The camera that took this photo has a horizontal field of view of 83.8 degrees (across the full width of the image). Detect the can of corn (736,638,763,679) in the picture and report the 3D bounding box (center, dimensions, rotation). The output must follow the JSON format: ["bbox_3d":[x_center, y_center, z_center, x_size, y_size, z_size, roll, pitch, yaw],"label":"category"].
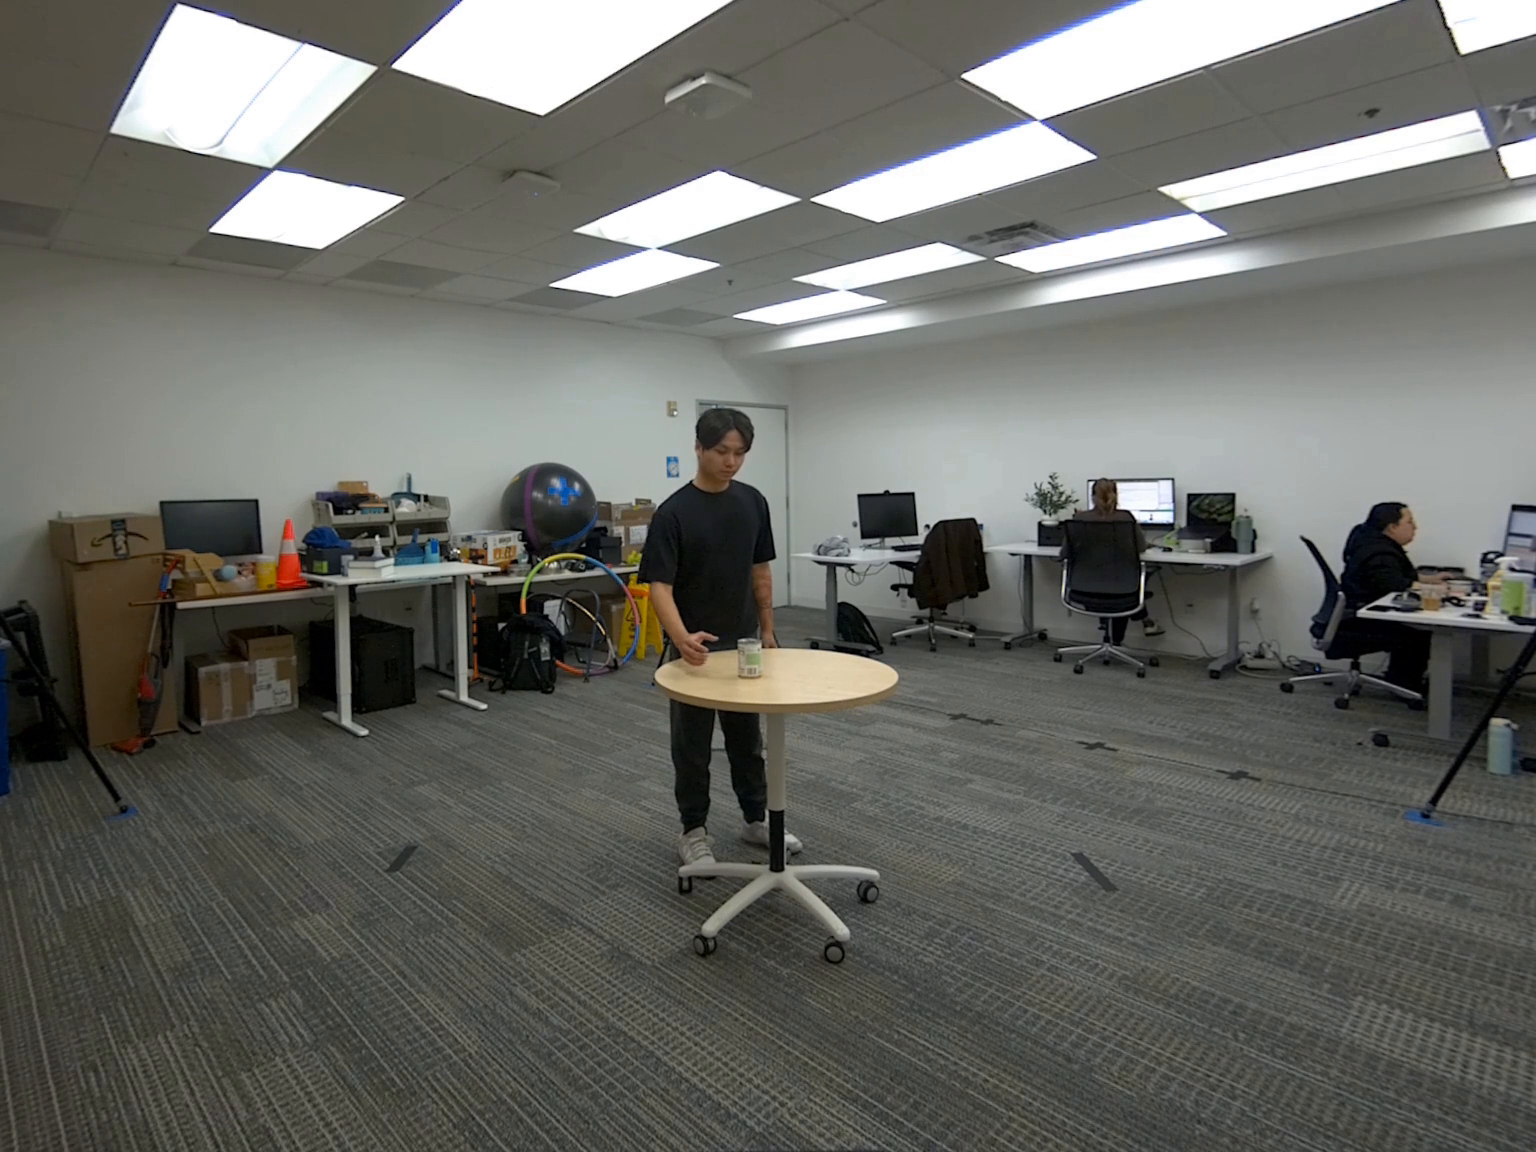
[{"bbox_3d":[-0.070,0.259,2.654,0.074,0.110,0.074,-3,5,-1],"label":"can of corn"}]
